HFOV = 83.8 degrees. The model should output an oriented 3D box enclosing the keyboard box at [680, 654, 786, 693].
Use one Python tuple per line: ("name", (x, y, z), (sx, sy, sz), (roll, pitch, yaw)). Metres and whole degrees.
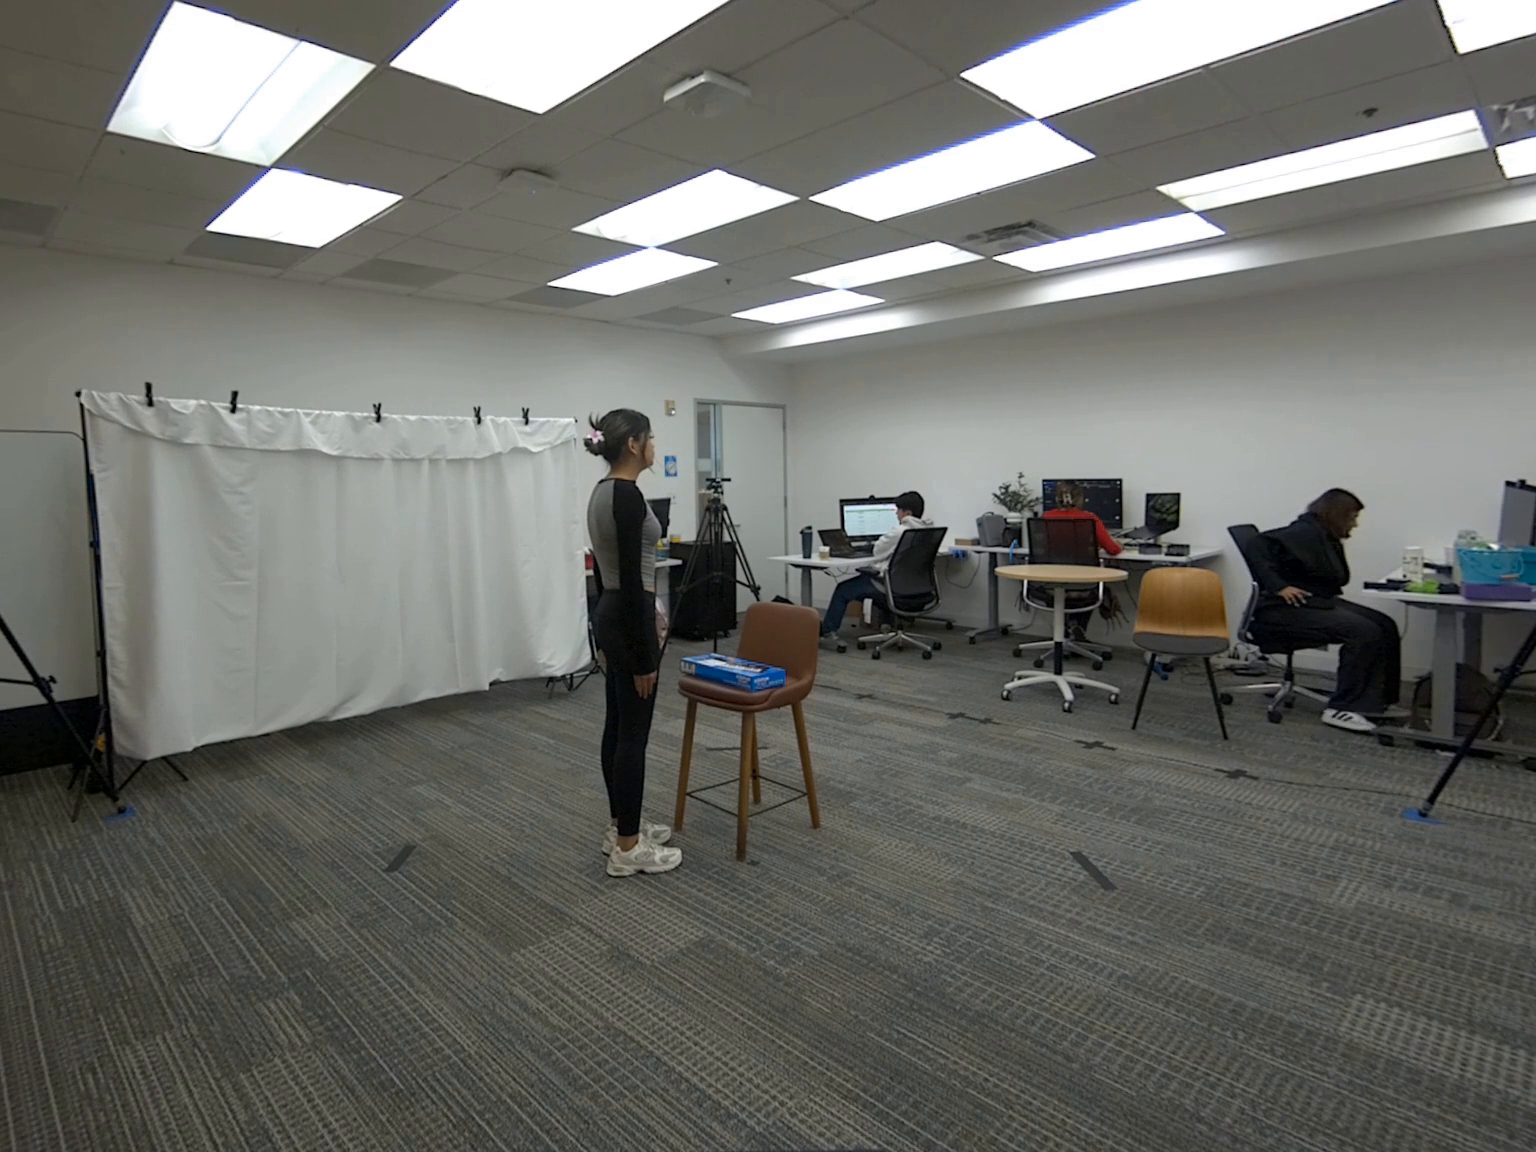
("keyboard box", (-0.146, 0.372, 3.343), (0.171, 0.059, 0.450), (-6, 8, -41))
